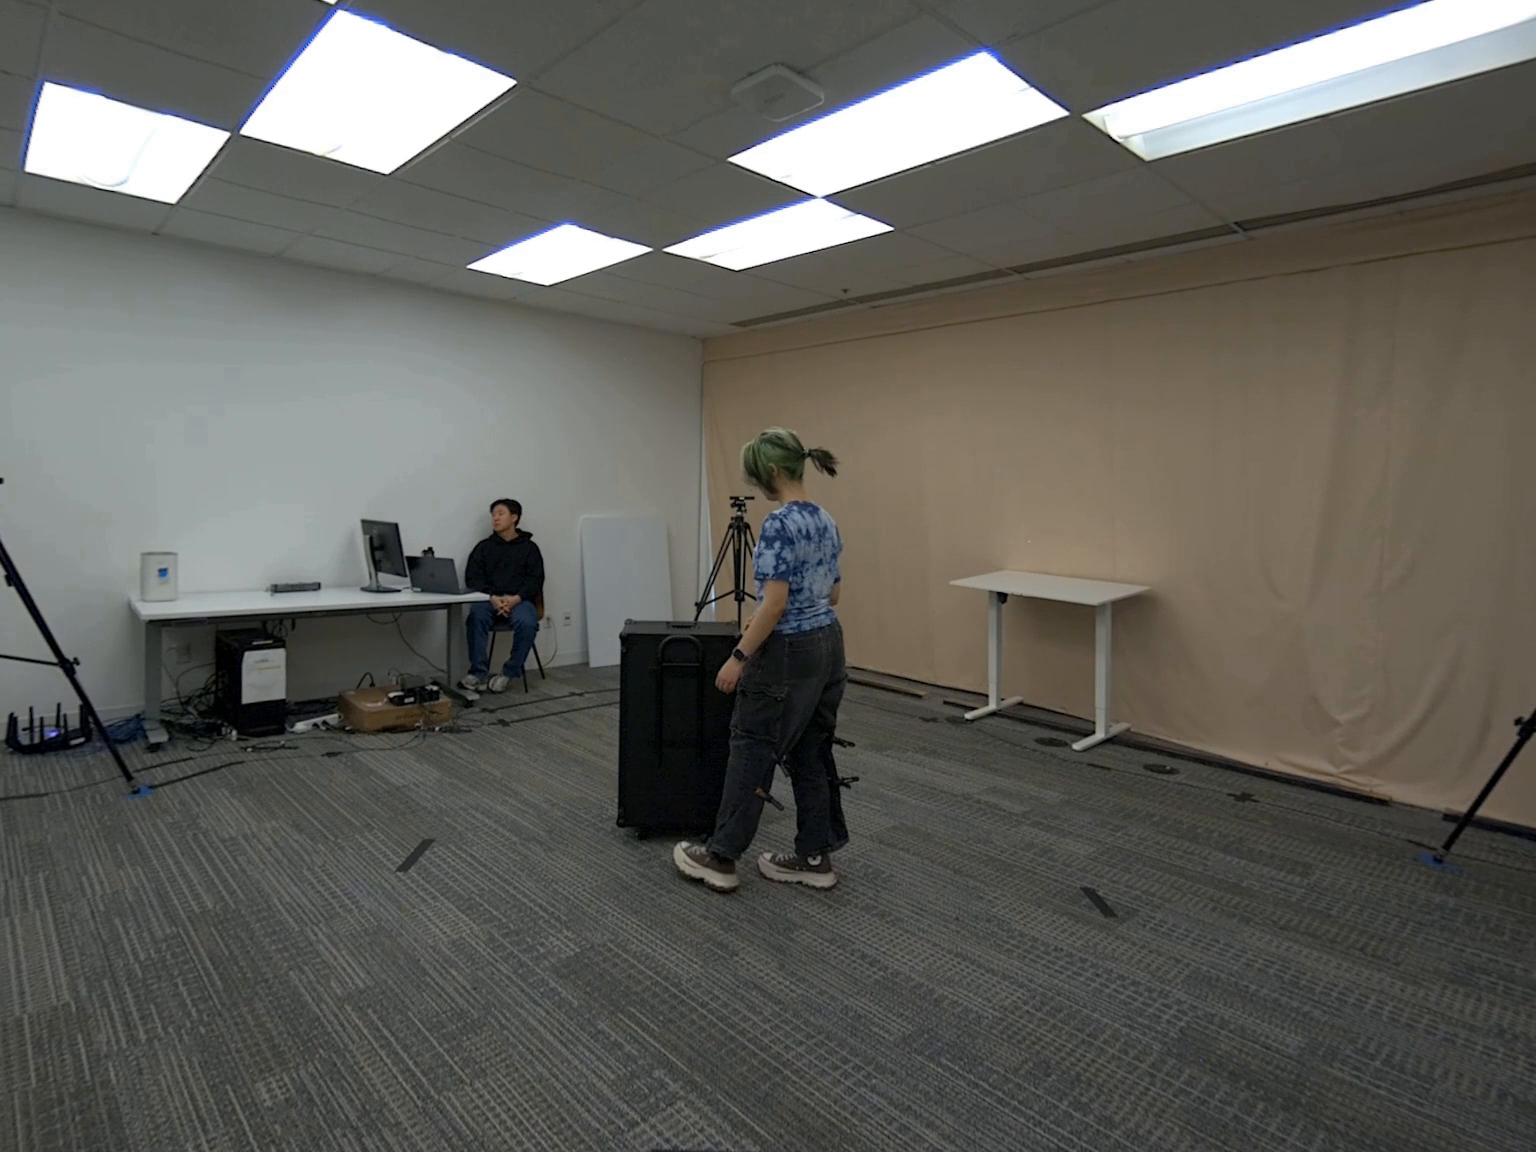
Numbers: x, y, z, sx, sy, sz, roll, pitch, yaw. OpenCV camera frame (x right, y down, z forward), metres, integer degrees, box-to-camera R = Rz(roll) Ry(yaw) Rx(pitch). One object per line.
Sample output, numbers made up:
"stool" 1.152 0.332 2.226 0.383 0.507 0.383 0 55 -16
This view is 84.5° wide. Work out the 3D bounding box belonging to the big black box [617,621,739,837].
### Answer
"big black box" -0.376 0.640 3.512 0.520 0.859 0.398 2 4 -4
